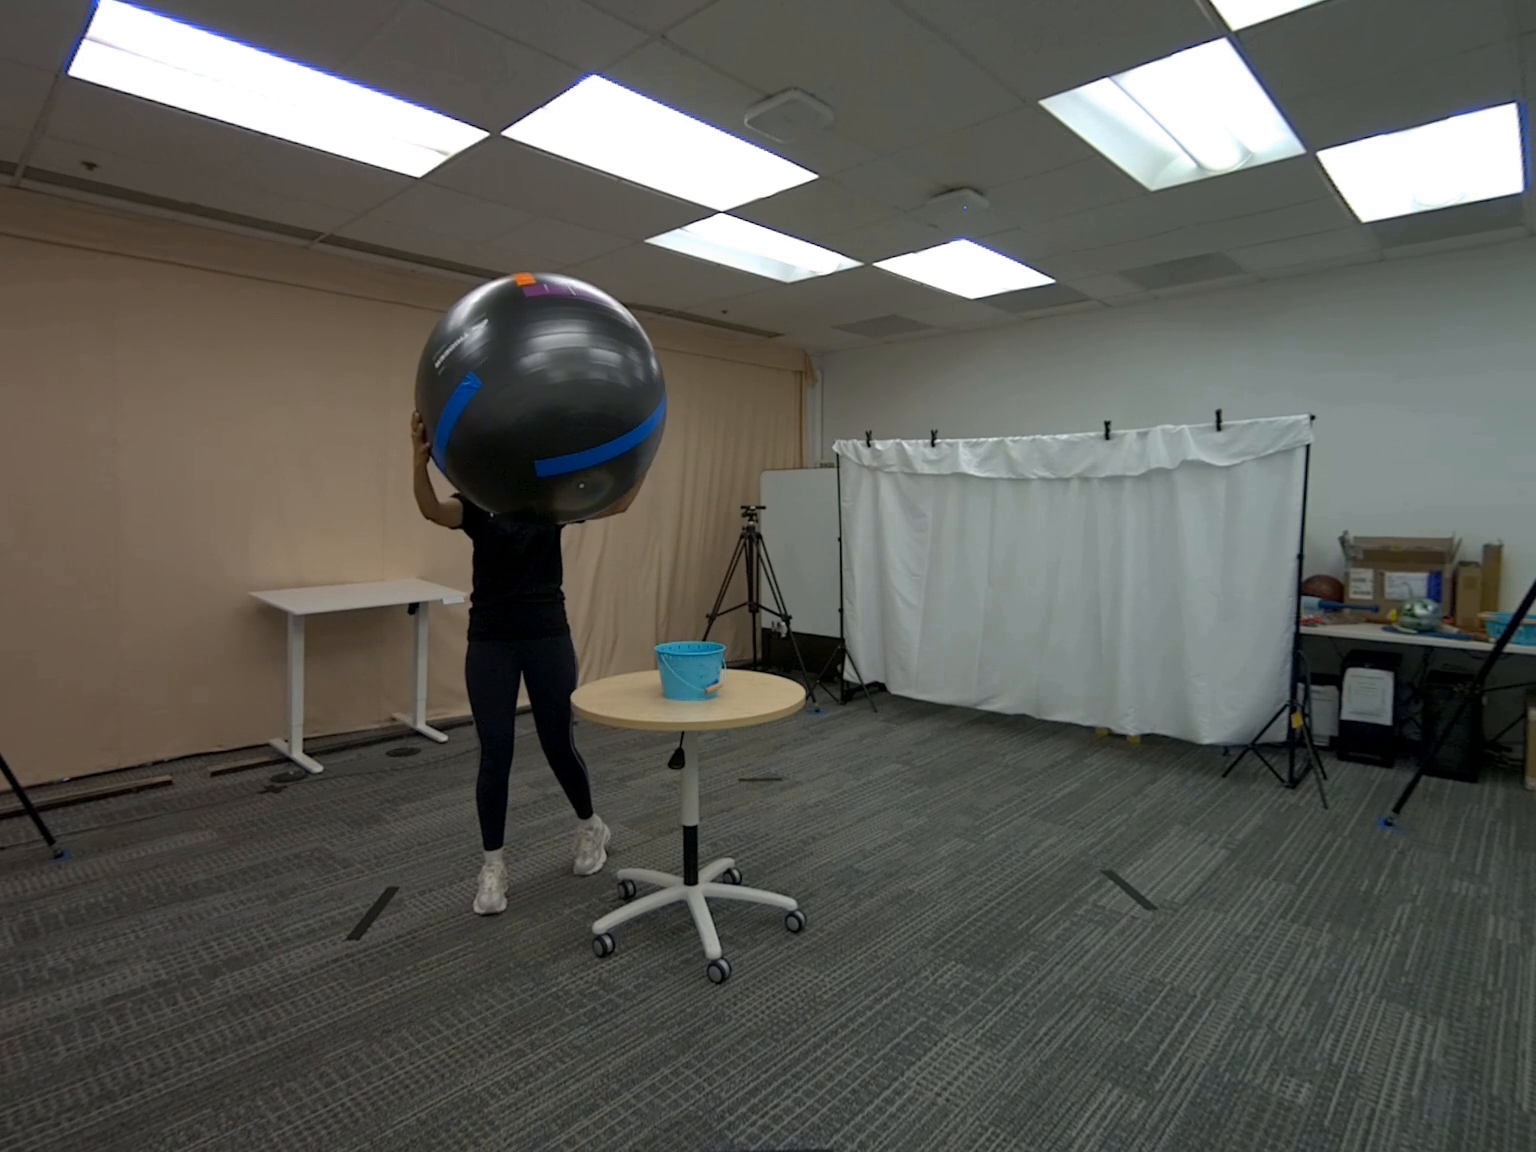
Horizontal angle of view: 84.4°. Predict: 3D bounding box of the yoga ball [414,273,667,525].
[{"bbox_3d":[-0.692,-0.533,2.587,0.757,0.756,0.761,0,4,-2],"label":"yoga ball"}]
